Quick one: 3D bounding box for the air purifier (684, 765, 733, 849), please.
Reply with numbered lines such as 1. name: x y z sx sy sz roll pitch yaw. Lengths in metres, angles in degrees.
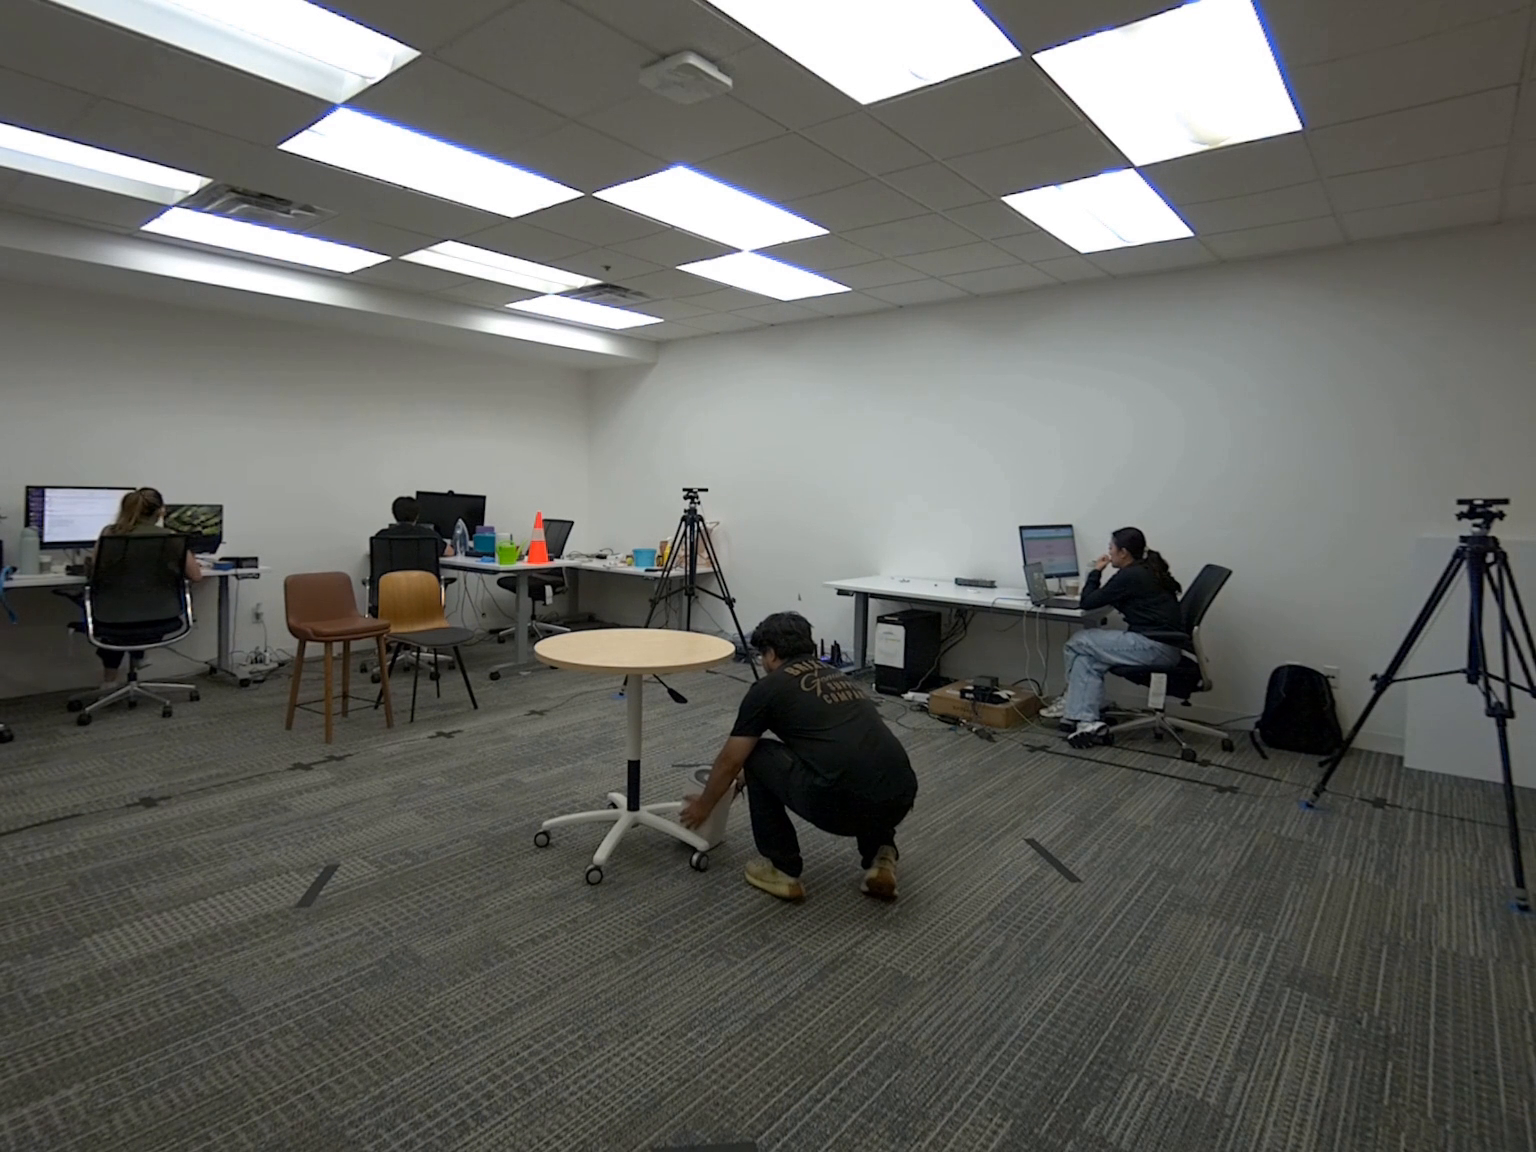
1. air purifier: -0.254 0.903 3.321 0.177 0.263 0.167 11 11 25
